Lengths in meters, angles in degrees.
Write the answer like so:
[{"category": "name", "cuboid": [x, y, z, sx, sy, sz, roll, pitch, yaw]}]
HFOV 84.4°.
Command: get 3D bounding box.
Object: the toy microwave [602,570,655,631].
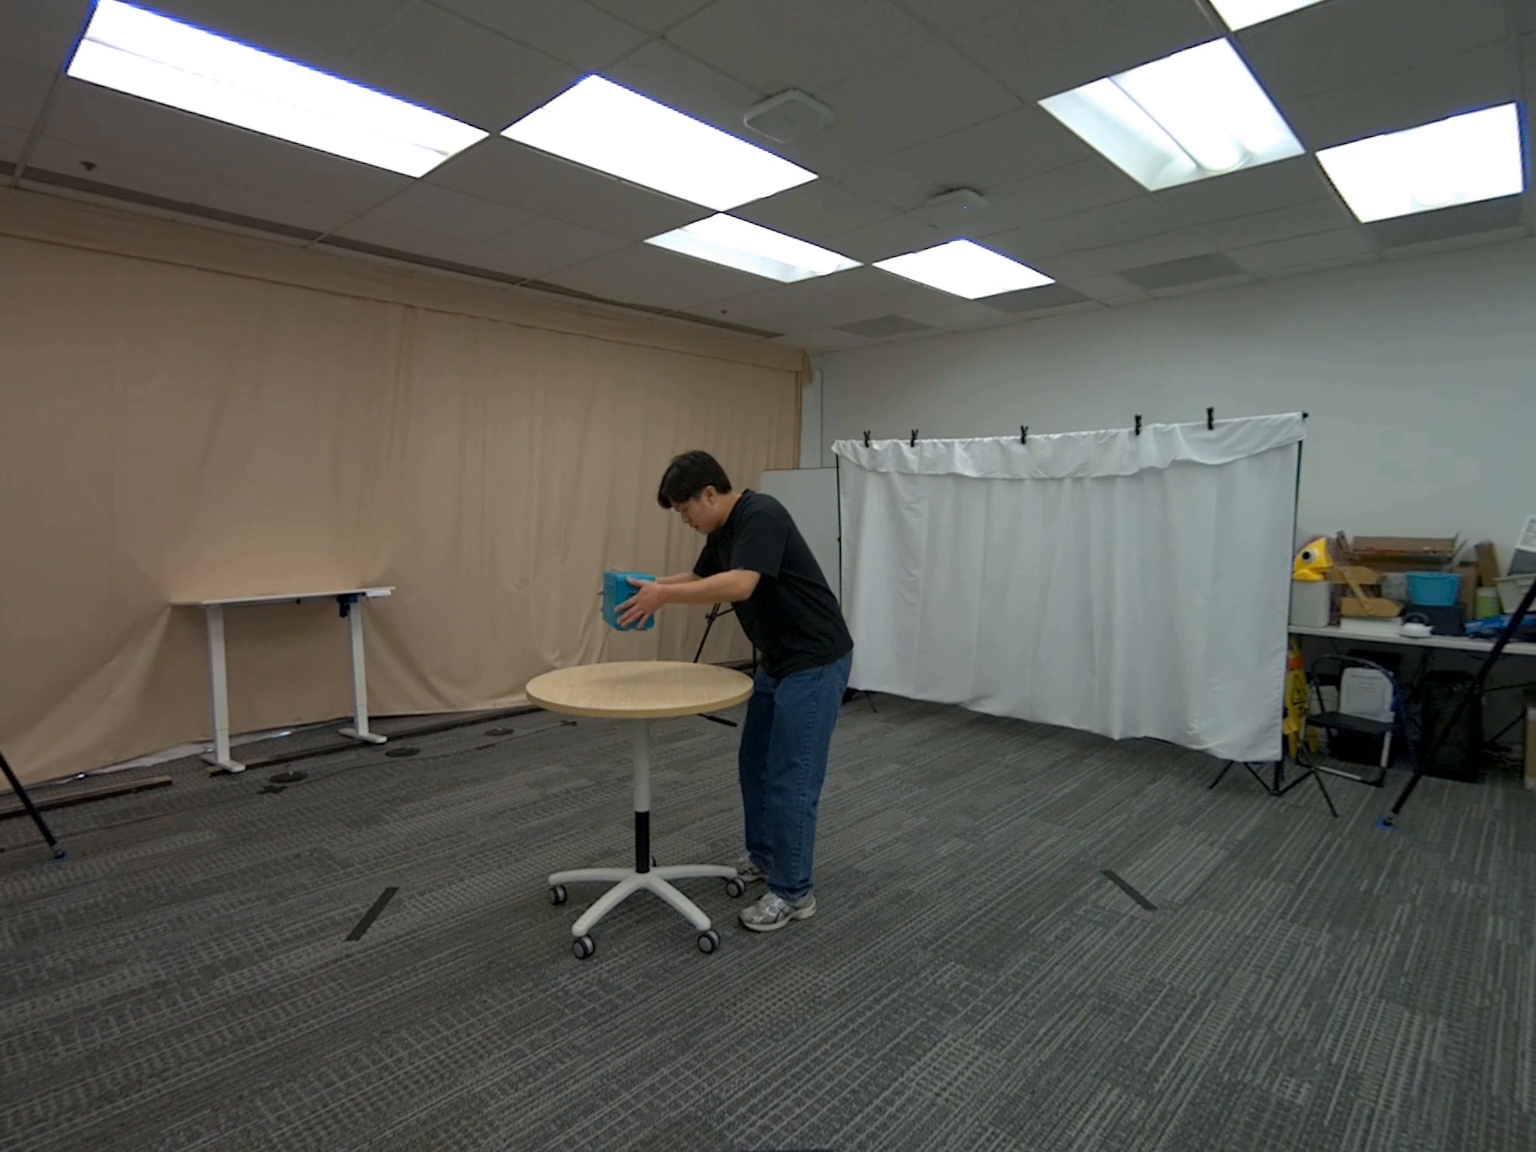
[{"category": "toy microwave", "cuboid": [-0.462, 0.080, 2.846, 0.149, 0.184, 0.291, 4, 1, -18]}]
